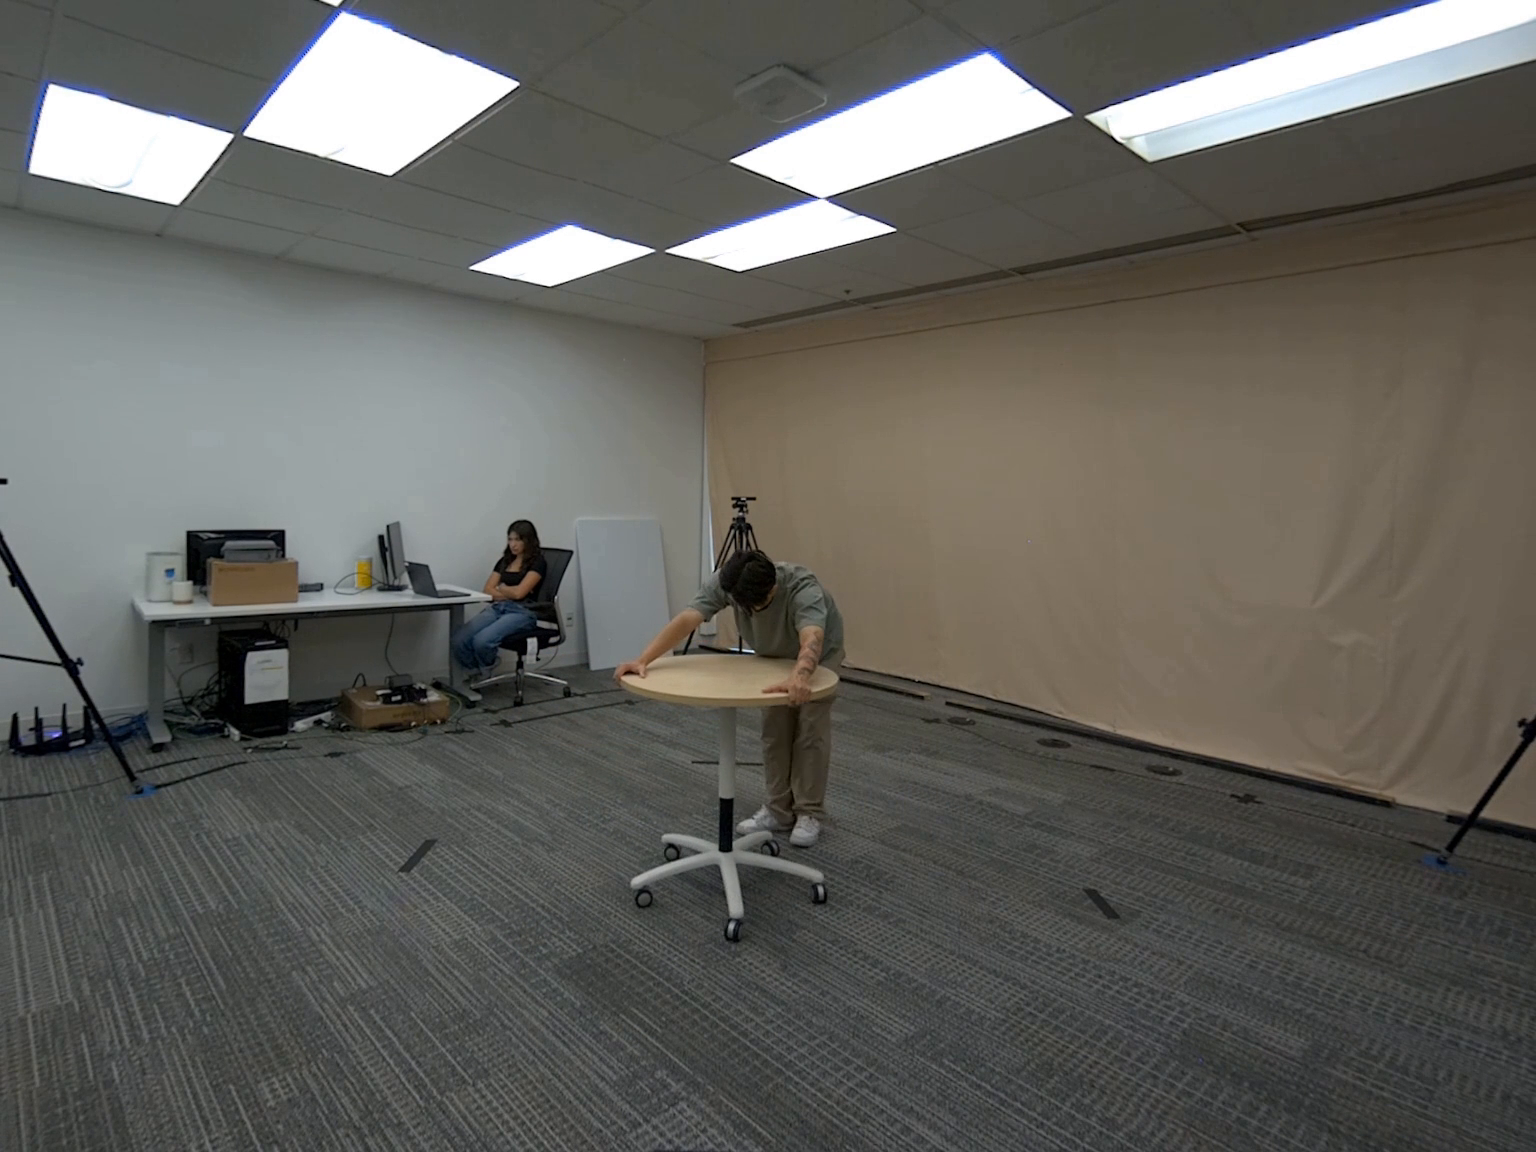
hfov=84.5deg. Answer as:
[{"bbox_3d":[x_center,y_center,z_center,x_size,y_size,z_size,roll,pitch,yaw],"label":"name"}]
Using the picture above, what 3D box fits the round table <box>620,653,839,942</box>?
[{"bbox_3d":[-0.138,0.731,2.966,0.784,0.784,0.788,1,4,-1],"label":"round table"}]
